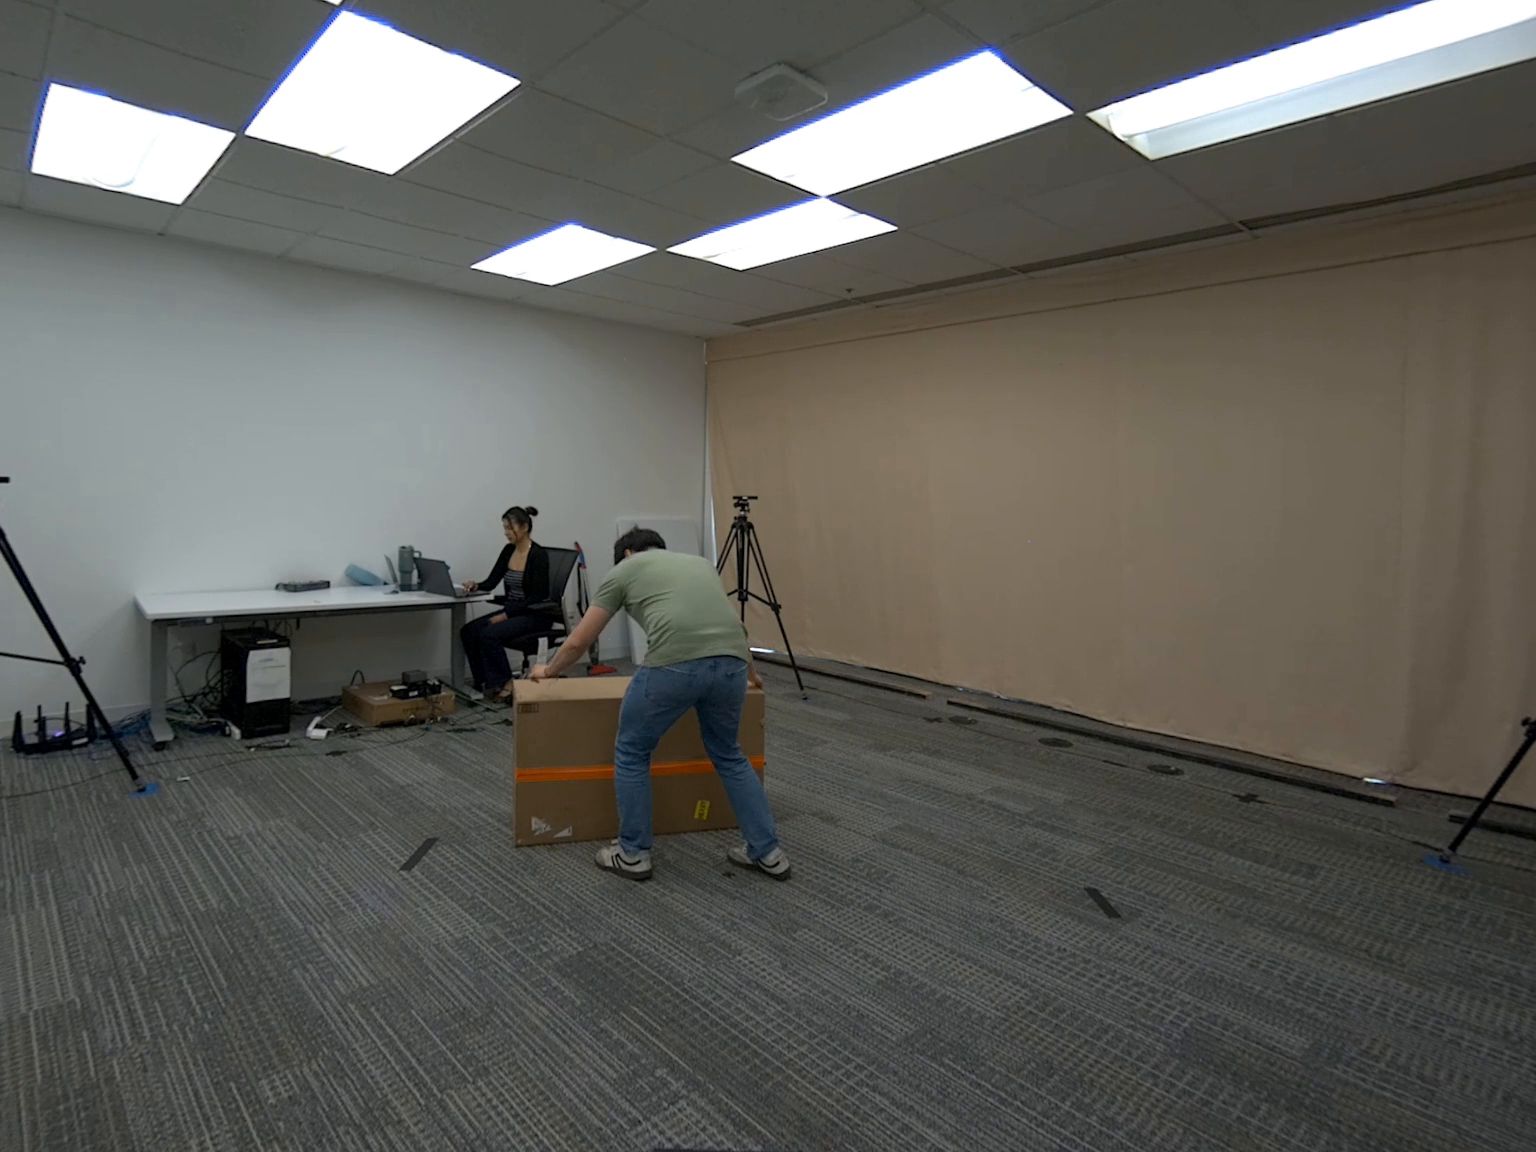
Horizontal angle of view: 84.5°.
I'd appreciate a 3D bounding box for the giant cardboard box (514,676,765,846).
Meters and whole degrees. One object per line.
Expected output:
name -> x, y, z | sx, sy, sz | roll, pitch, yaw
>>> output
giant cardboard box -> -0.571, 0.756, 3.624 | 1.013, 0.576, 0.433 | 0, 4, -16
